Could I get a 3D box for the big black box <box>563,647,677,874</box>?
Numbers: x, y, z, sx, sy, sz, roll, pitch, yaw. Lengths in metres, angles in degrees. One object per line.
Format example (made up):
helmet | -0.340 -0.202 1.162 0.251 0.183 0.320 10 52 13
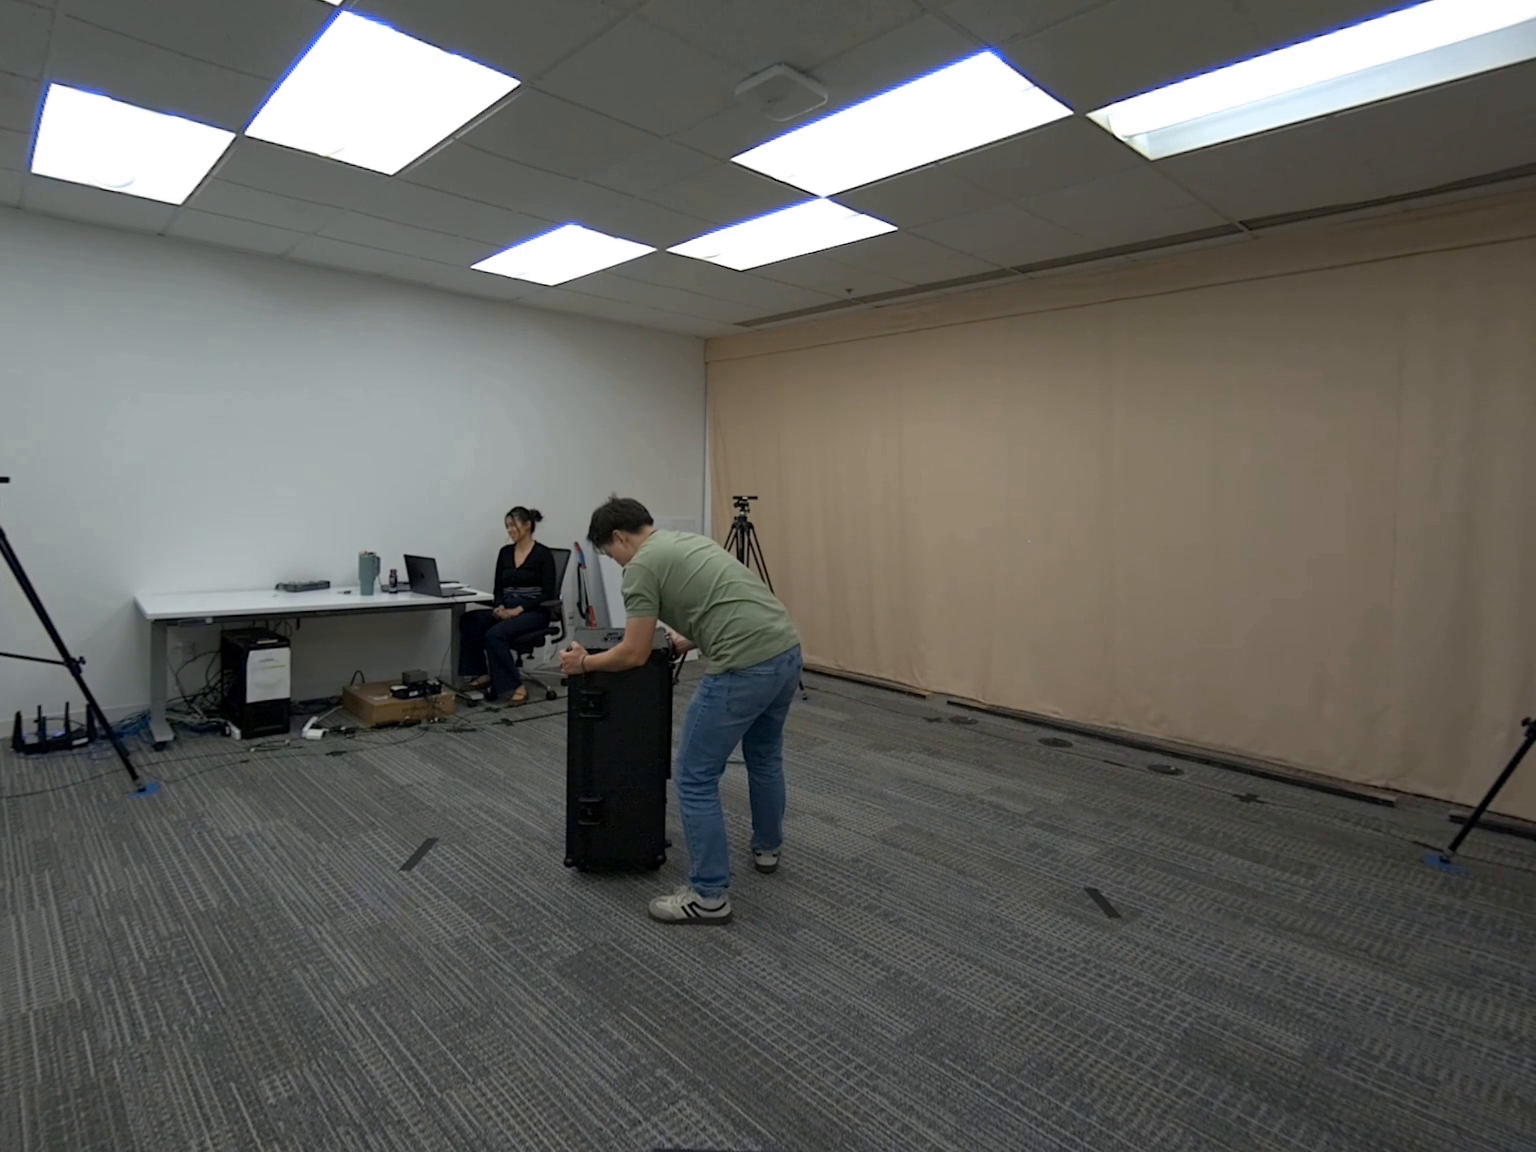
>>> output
big black box | -0.570 0.601 3.214 0.394 0.860 0.526 0 3 -9
